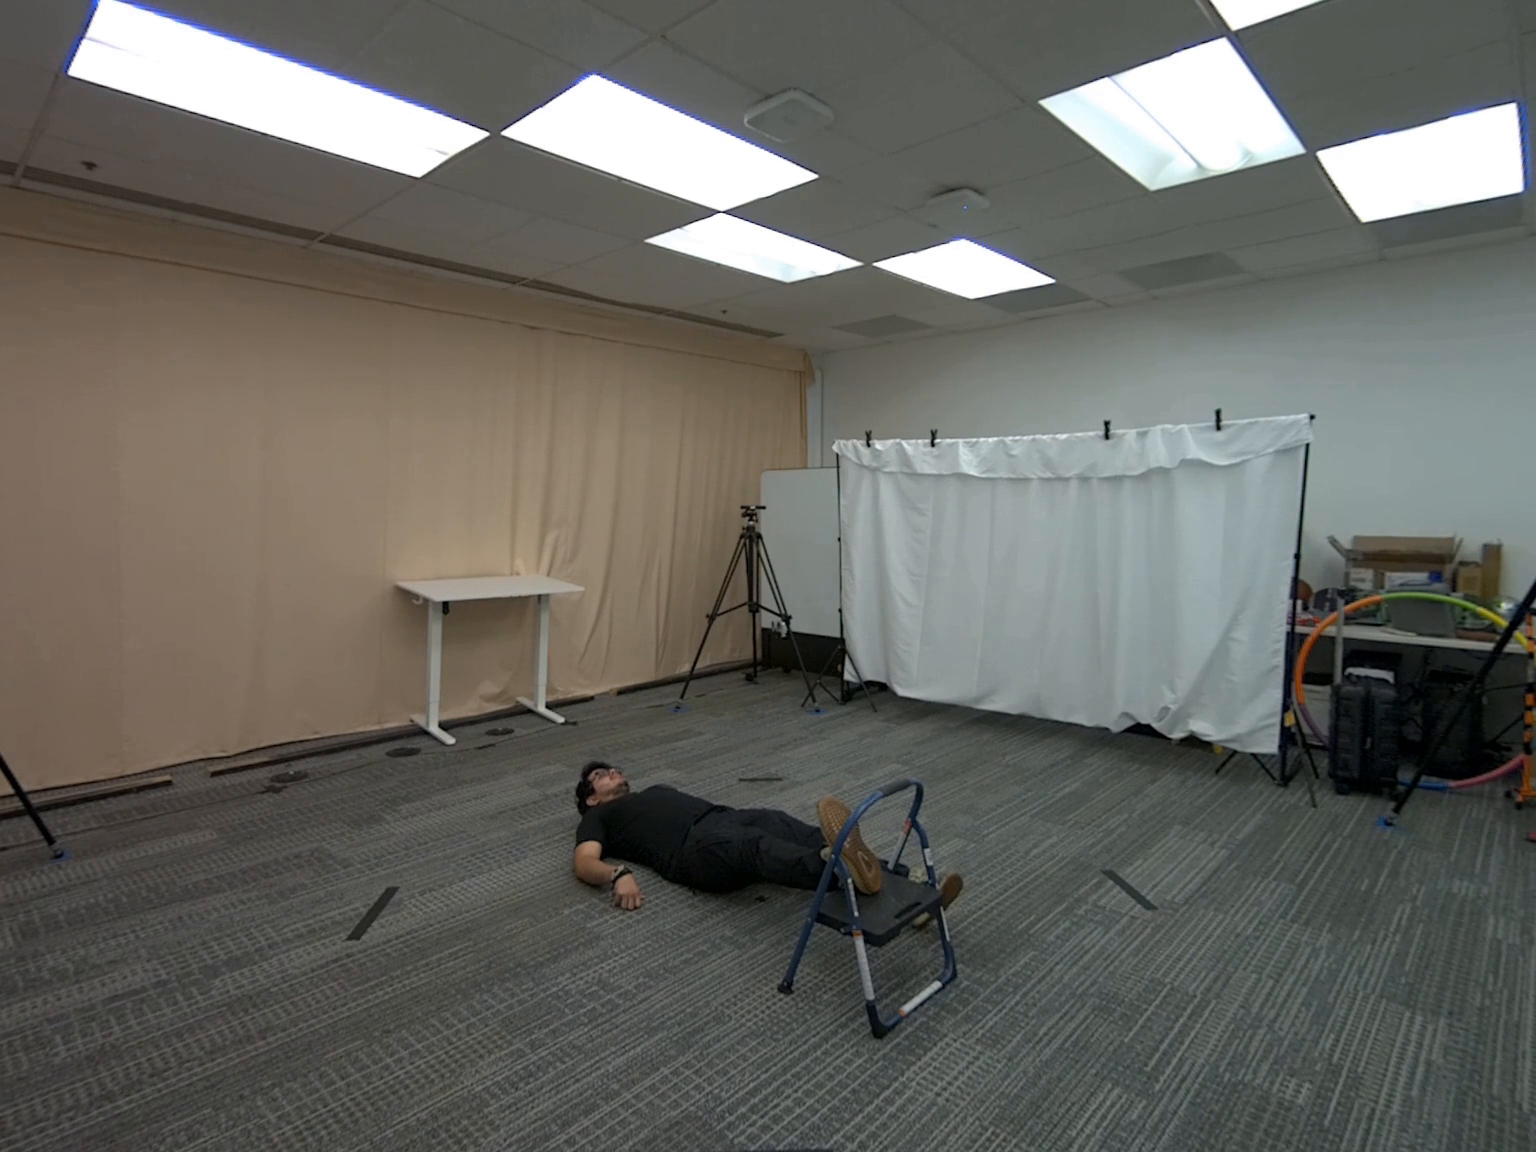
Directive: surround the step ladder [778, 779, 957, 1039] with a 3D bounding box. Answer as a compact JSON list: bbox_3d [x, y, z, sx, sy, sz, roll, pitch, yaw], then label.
[{"bbox_3d":[0.301,0.888,2.432,0.361,0.604,0.417,3,5,42],"label":"step ladder"}]
